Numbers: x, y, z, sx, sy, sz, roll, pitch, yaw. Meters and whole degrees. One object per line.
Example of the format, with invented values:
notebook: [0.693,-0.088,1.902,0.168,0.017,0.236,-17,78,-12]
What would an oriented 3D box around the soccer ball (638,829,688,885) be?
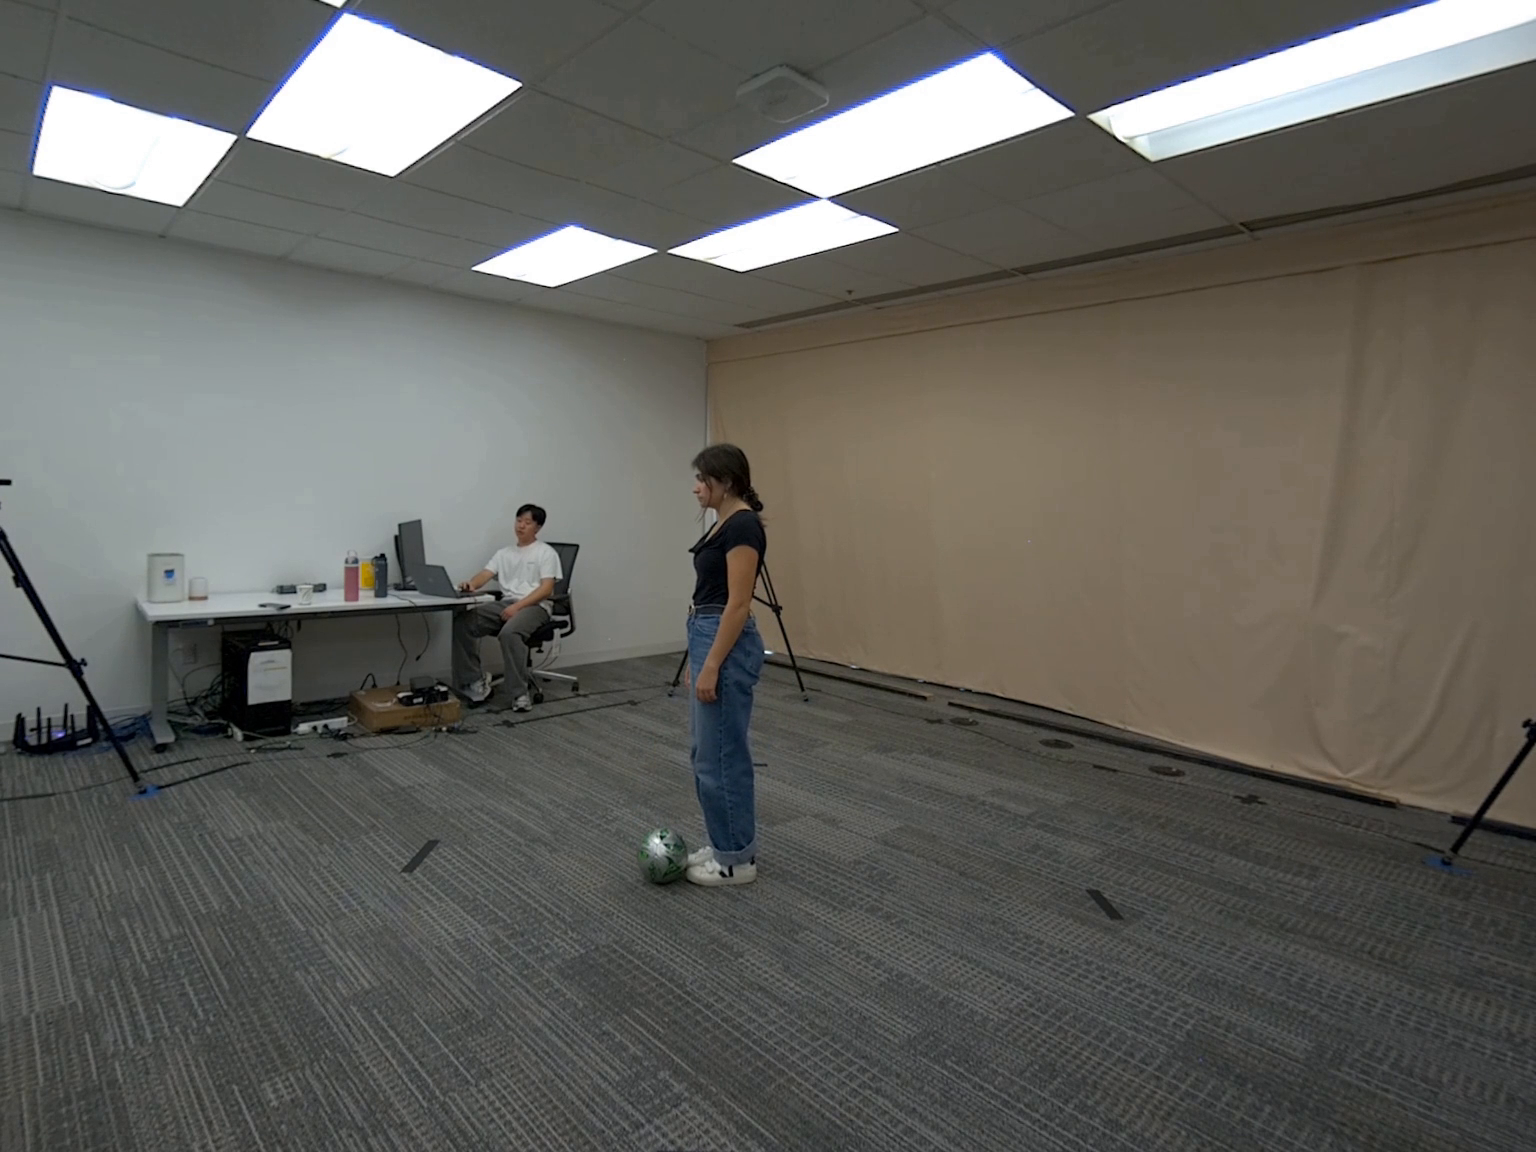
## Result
soccer ball: [-0.381,1.011,3.062,0.187,0.187,0.188,1,4,-1]
